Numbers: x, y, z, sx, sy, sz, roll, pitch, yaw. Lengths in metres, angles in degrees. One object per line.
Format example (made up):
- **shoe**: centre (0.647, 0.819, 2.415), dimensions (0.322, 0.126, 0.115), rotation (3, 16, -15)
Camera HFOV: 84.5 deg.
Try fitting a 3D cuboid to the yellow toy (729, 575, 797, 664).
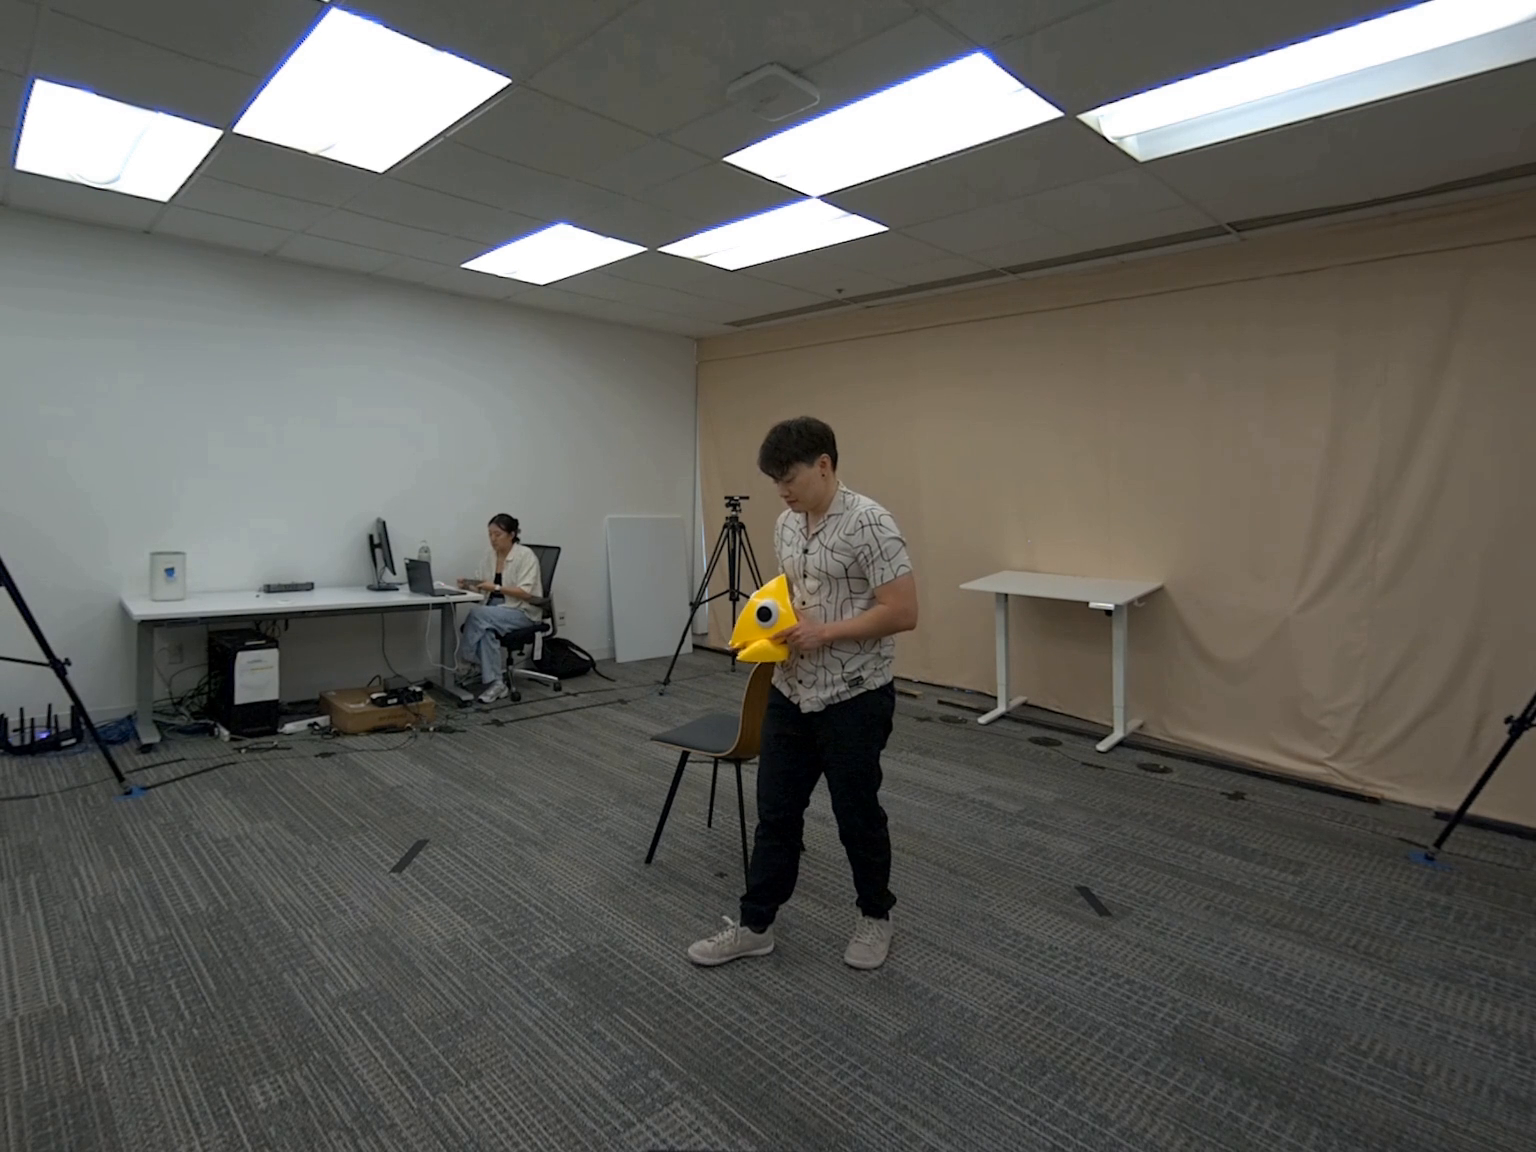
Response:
- **yellow toy**: centre (-0.016, 0.108, 2.453), dimensions (0.191, 0.229, 0.208), rotation (-1, 12, -12)
